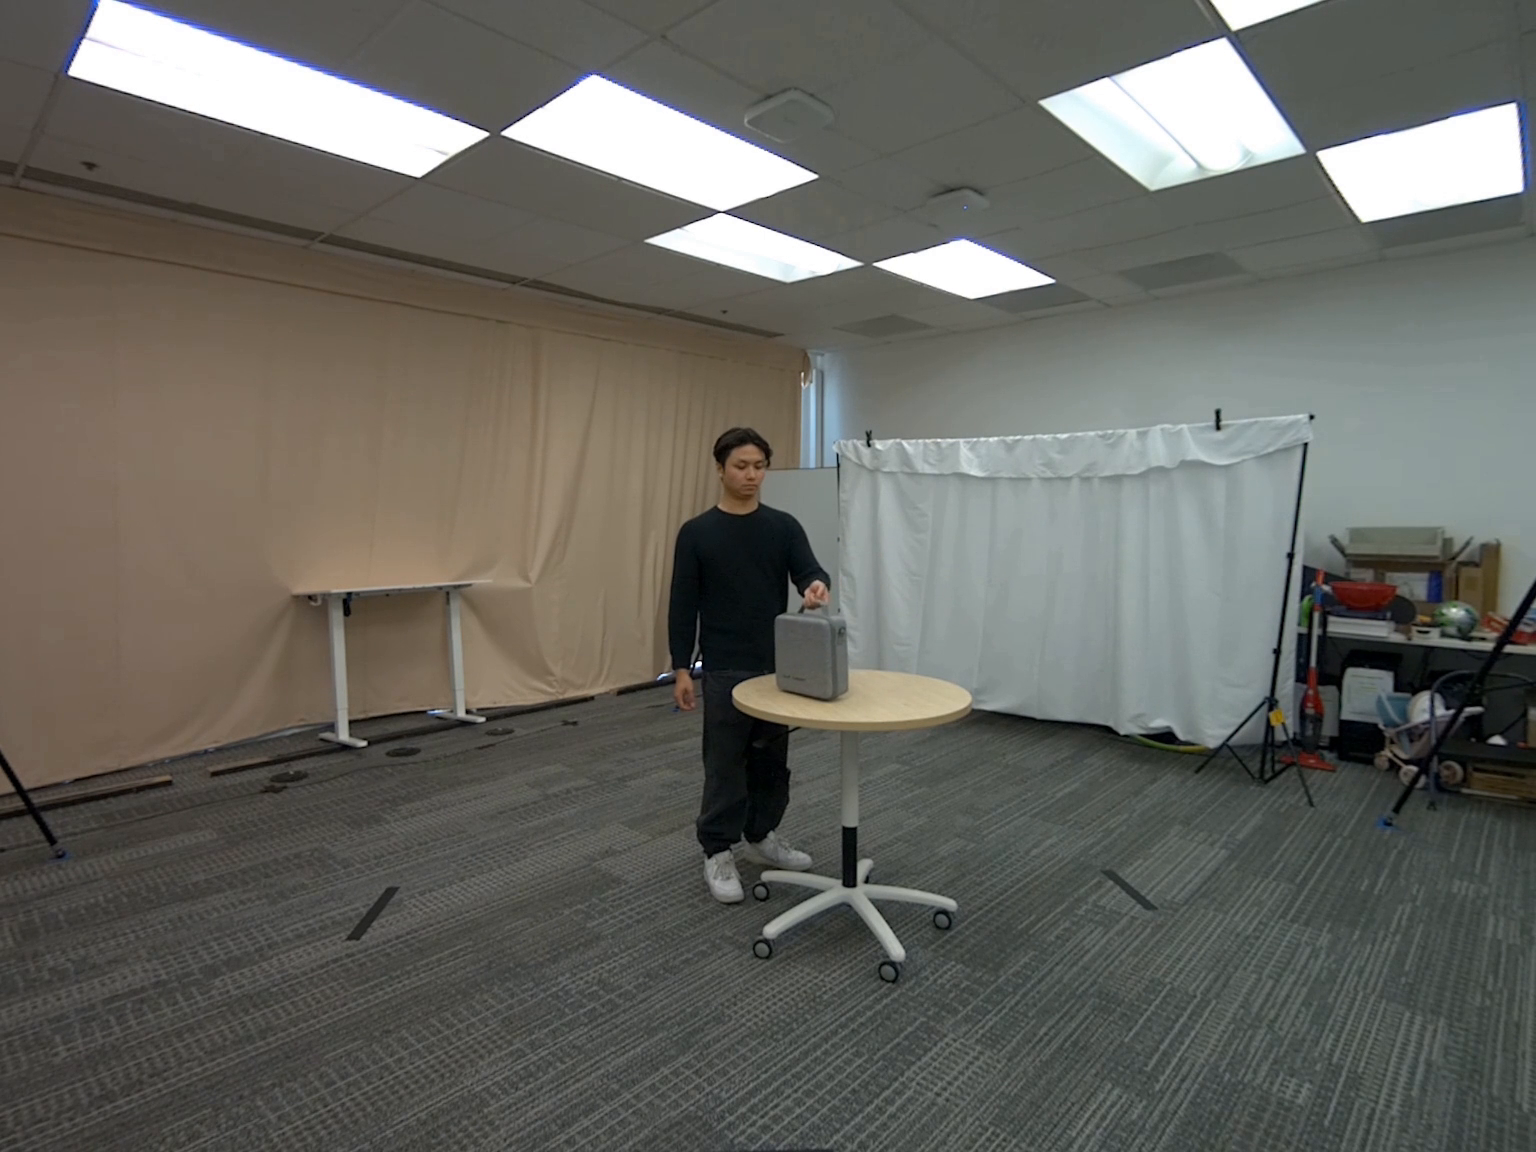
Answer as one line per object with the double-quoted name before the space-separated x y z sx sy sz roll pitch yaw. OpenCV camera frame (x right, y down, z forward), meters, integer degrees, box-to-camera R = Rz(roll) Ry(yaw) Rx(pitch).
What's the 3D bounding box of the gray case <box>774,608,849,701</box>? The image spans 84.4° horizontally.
"gray case" 0.145 0.249 2.699 0.101 0.260 0.265 -2 2 -38
